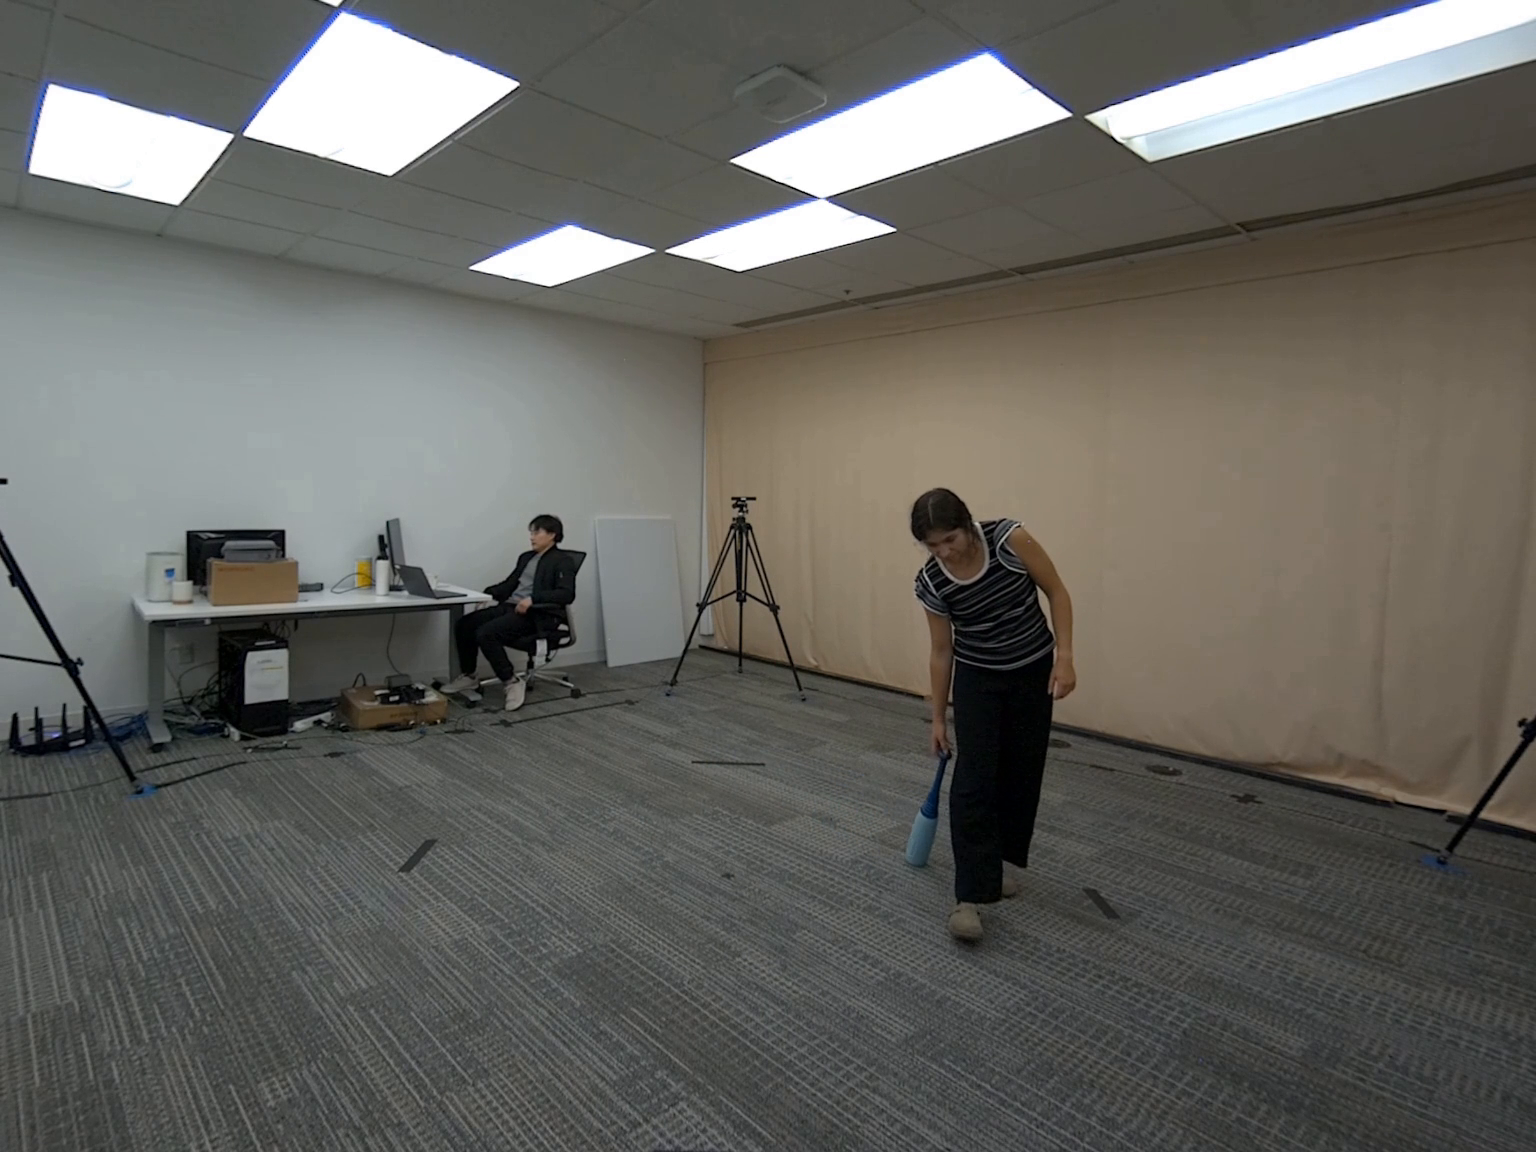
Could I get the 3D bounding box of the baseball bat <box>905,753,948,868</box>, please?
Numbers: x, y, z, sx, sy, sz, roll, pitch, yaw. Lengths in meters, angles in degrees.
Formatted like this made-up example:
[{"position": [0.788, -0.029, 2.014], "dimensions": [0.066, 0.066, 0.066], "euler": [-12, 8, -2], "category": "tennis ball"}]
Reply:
[{"position": [0.597, 0.864, 3.129], "dimensions": [0.089, 0.535, 0.091], "euler": [5, 26, -4], "category": "baseball bat"}]
